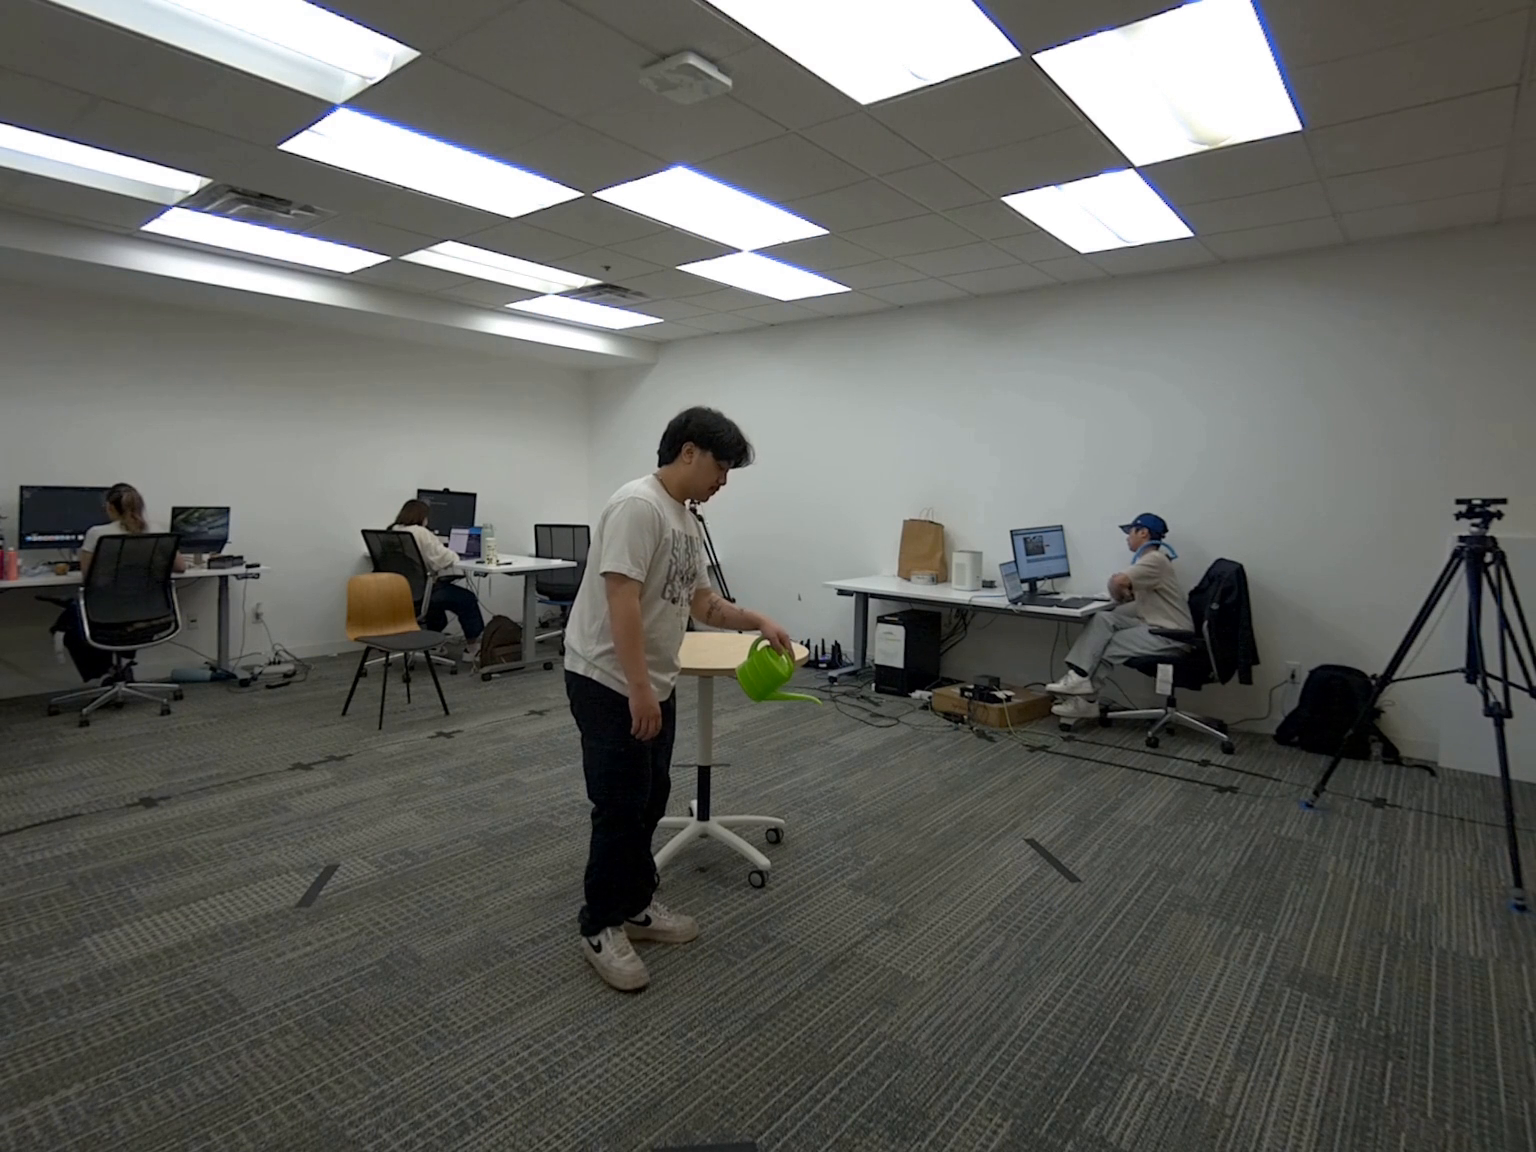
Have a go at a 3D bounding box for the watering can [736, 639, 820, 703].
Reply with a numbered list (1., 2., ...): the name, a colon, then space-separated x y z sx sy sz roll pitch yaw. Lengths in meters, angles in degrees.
1. watering can: 0.013 0.316 2.586 0.177 0.289 0.094 -43 -33 15
